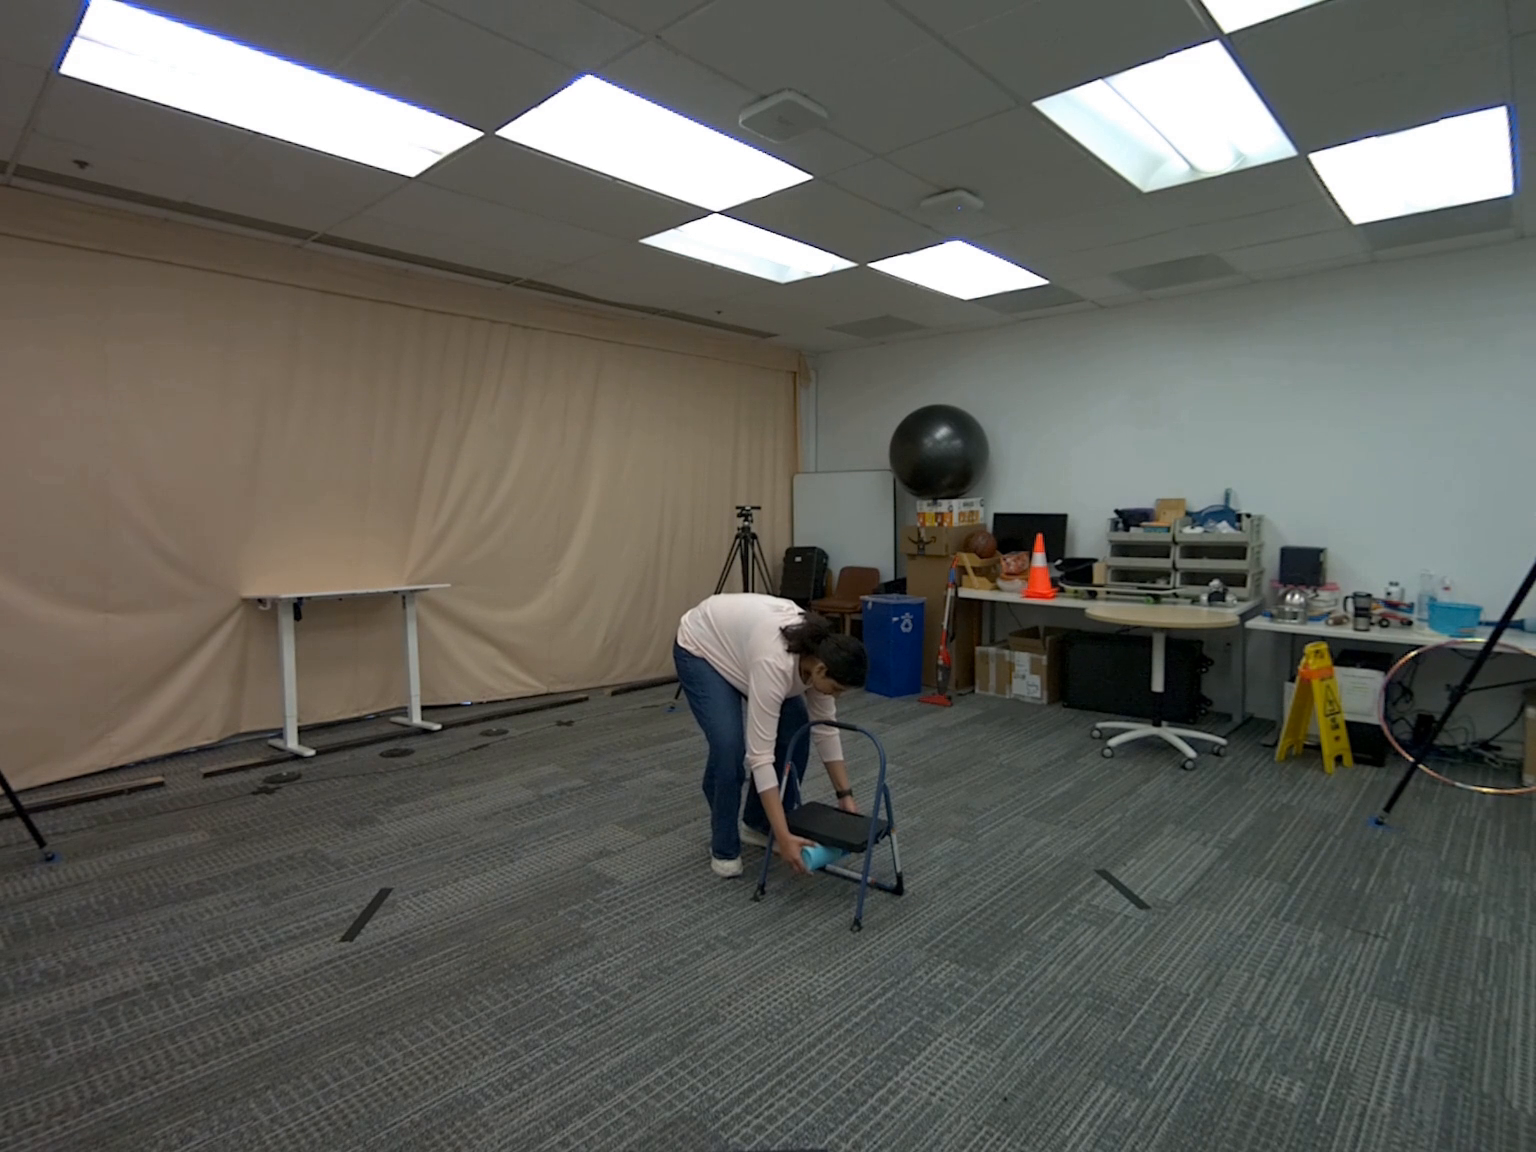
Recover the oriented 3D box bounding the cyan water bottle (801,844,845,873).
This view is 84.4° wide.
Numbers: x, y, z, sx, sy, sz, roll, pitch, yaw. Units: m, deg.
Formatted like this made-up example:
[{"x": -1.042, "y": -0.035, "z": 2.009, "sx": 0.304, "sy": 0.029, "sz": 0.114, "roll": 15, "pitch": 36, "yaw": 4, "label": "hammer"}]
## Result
[{"x": 0.184, "y": 0.976, "z": 2.989, "sx": 0.095, "sy": 0.092, "sz": 0.274, "roll": 3, "pitch": 2, "yaw": 43, "label": "cyan water bottle"}]
